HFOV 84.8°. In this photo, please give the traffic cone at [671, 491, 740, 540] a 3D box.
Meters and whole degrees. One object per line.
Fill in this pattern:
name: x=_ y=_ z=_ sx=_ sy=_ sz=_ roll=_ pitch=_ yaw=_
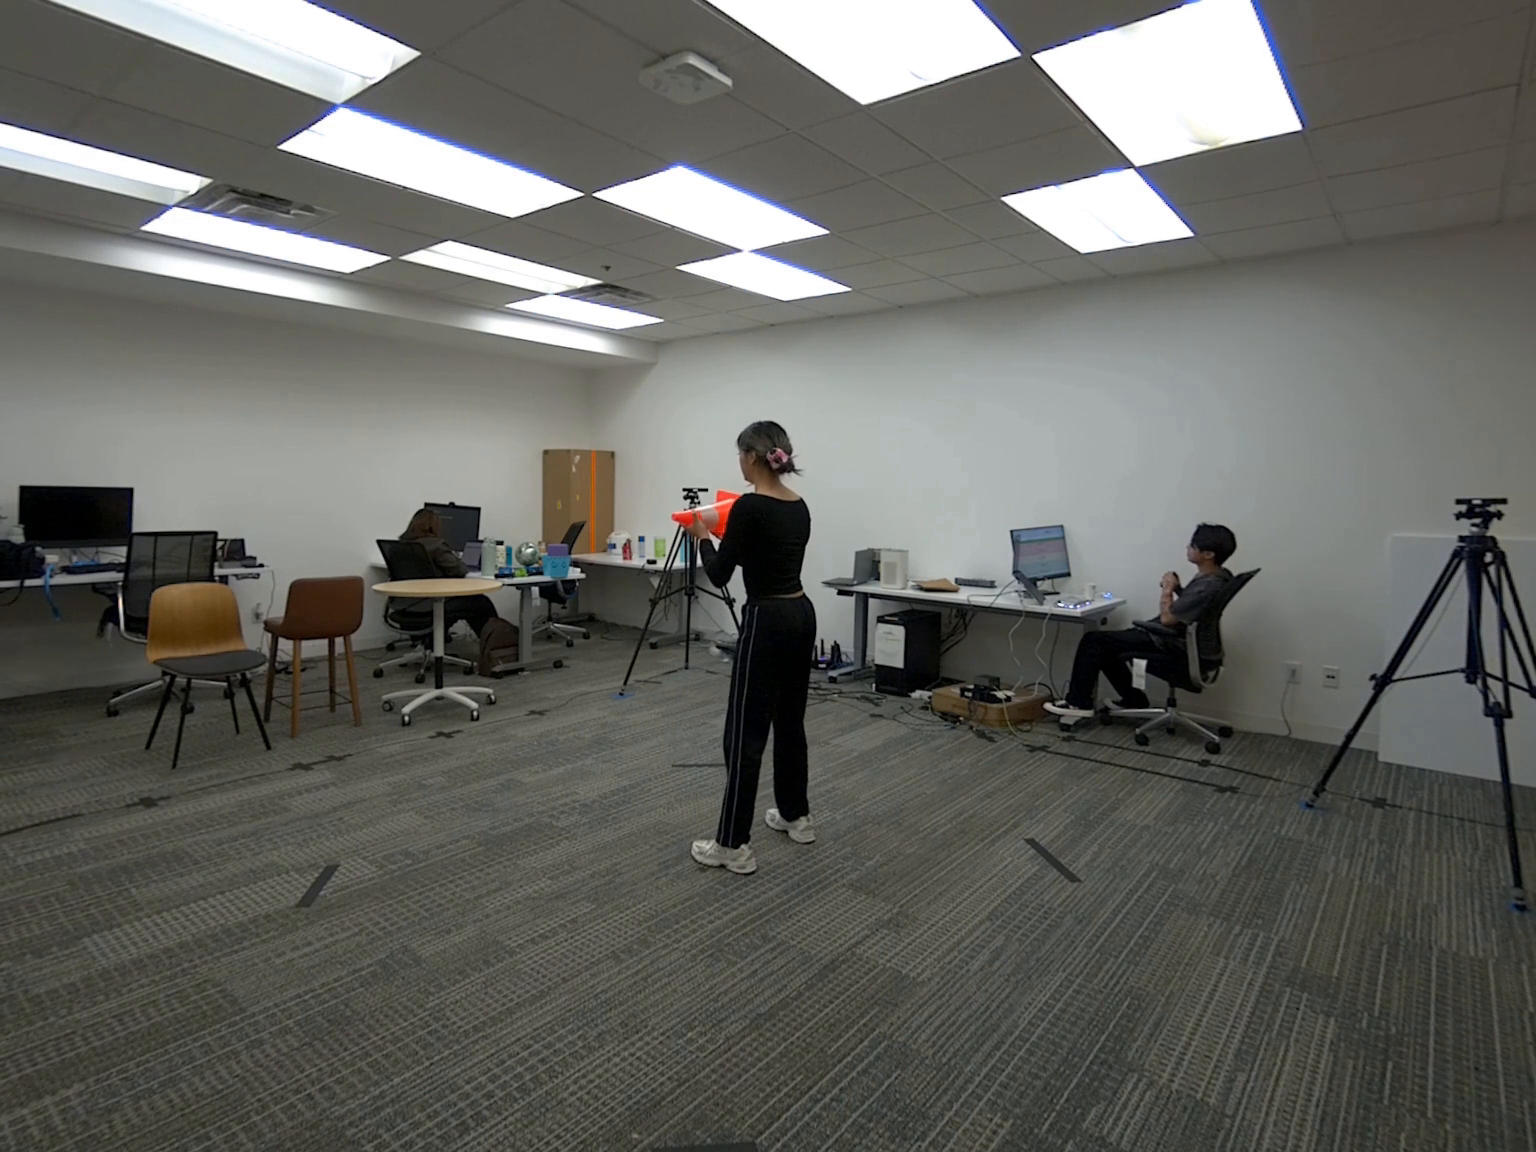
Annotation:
traffic cone: x=-0.256 y=-0.236 z=3.426 sx=0.211 sy=0.203 sz=0.373 roll=15 pitch=11 yaw=34
